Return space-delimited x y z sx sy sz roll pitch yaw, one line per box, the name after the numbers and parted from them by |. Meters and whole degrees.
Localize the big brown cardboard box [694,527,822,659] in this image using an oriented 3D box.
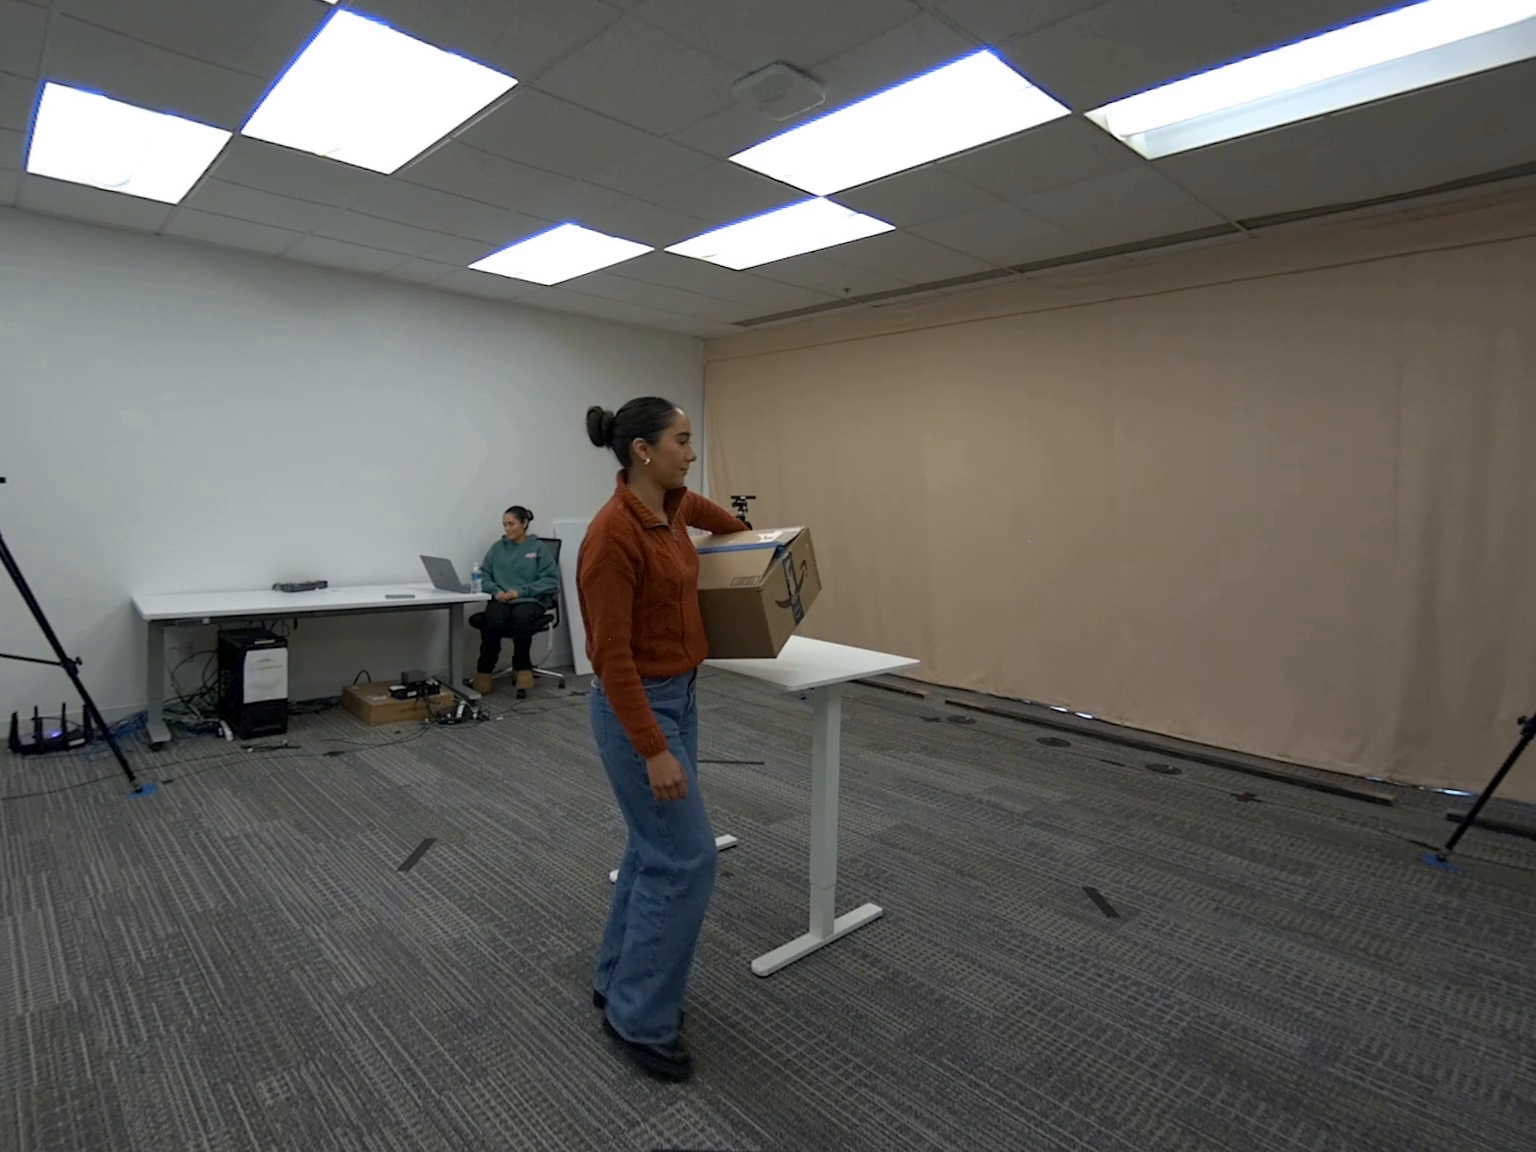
-0.189 0.050 2.460 0.599 0.229 0.417 -5 21 25 | big brown cardboard box
